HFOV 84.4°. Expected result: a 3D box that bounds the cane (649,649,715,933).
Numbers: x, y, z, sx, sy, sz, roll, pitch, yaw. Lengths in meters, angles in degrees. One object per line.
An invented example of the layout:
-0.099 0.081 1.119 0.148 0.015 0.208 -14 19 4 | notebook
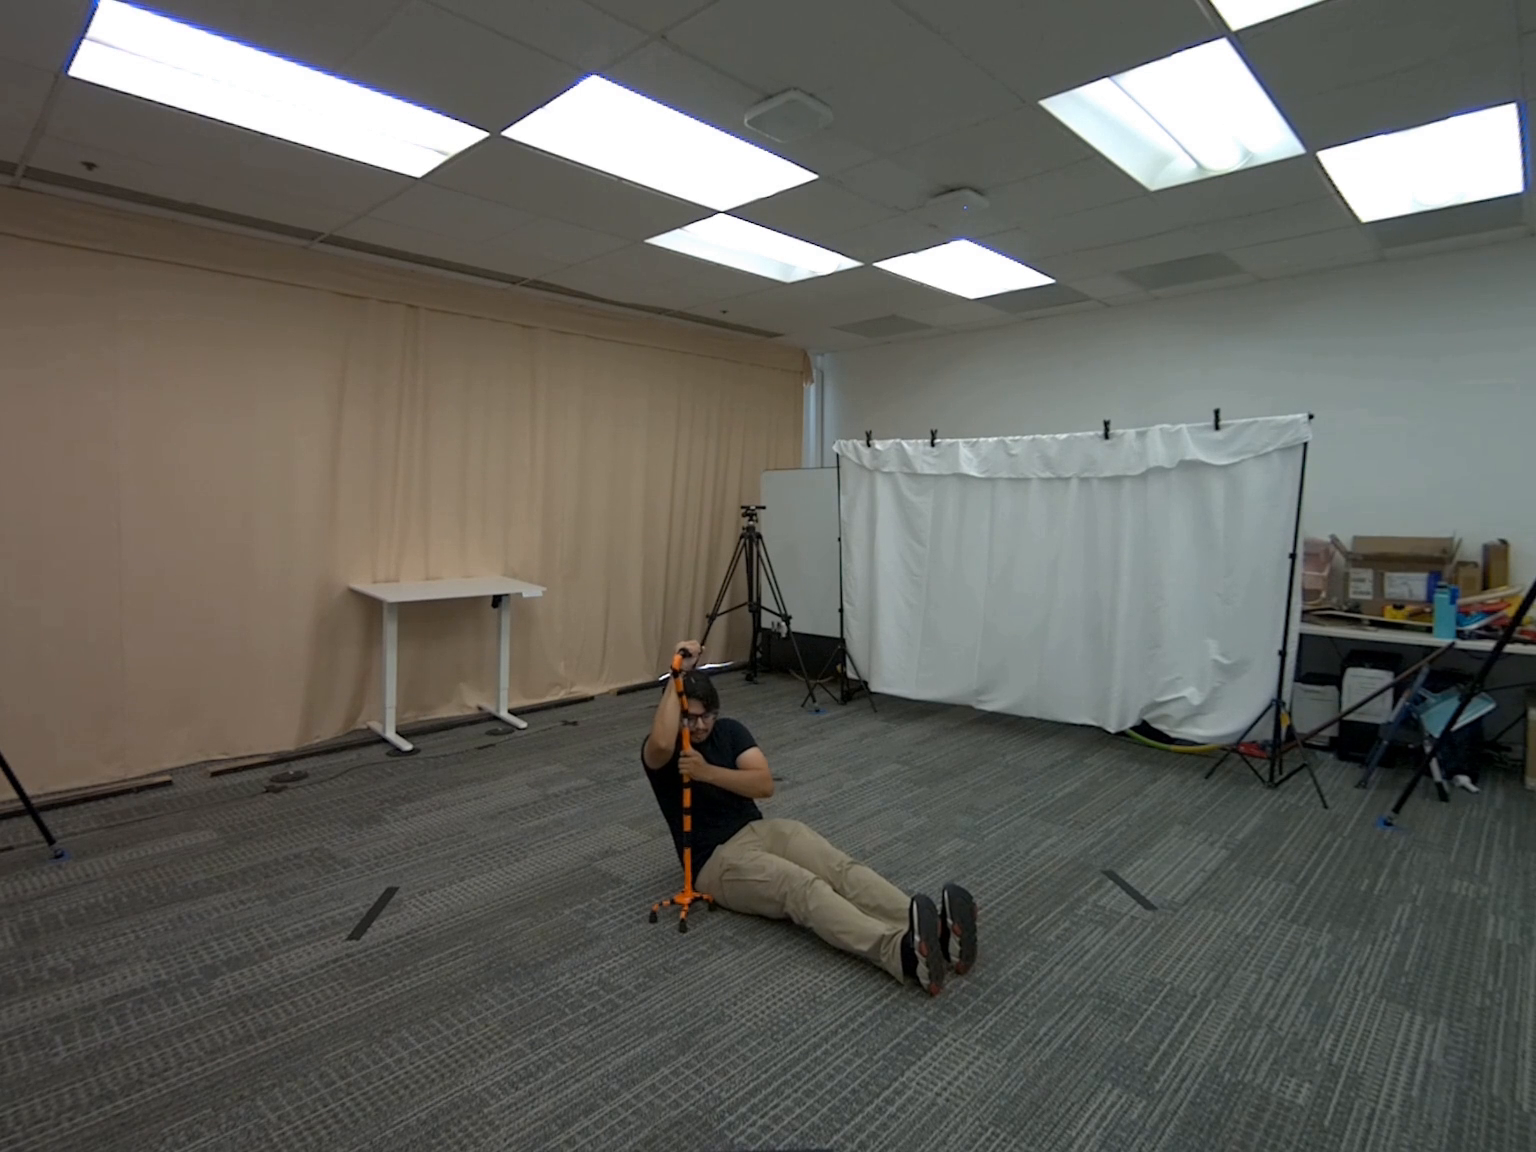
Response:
-0.293 0.705 2.854 0.156 0.907 0.201 1 1 30 | cane
